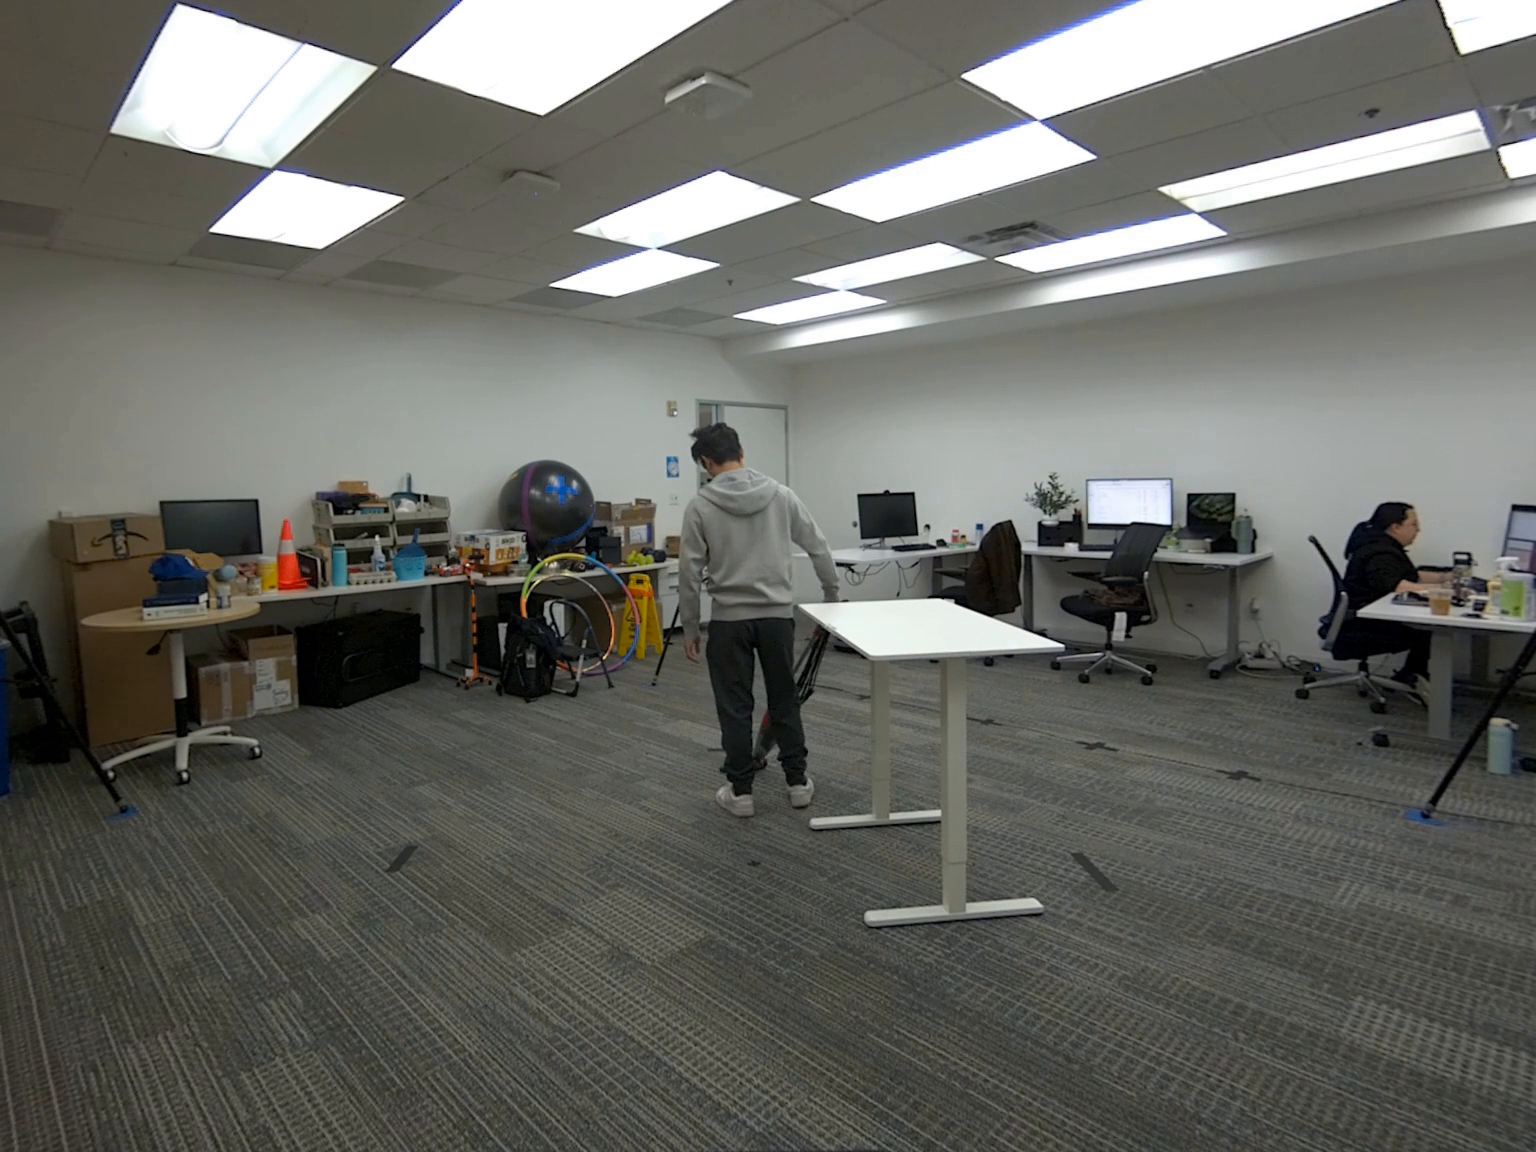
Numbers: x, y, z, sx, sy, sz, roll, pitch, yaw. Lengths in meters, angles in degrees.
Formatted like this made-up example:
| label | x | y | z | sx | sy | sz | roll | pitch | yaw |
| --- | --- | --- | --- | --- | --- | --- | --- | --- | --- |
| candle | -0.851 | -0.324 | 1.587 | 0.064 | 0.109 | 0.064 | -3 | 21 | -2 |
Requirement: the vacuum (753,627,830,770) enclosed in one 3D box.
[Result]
| label | x | y | z | sx | sy | sz | roll | pitch | yaw |
| --- | --- | --- | --- | --- | --- | --- | --- | --- | --- |
| vacuum | 0.116 | 0.526 | 3.912 | 0.245 | 1.040 | 0.149 | -3 | 42 | -44 |
